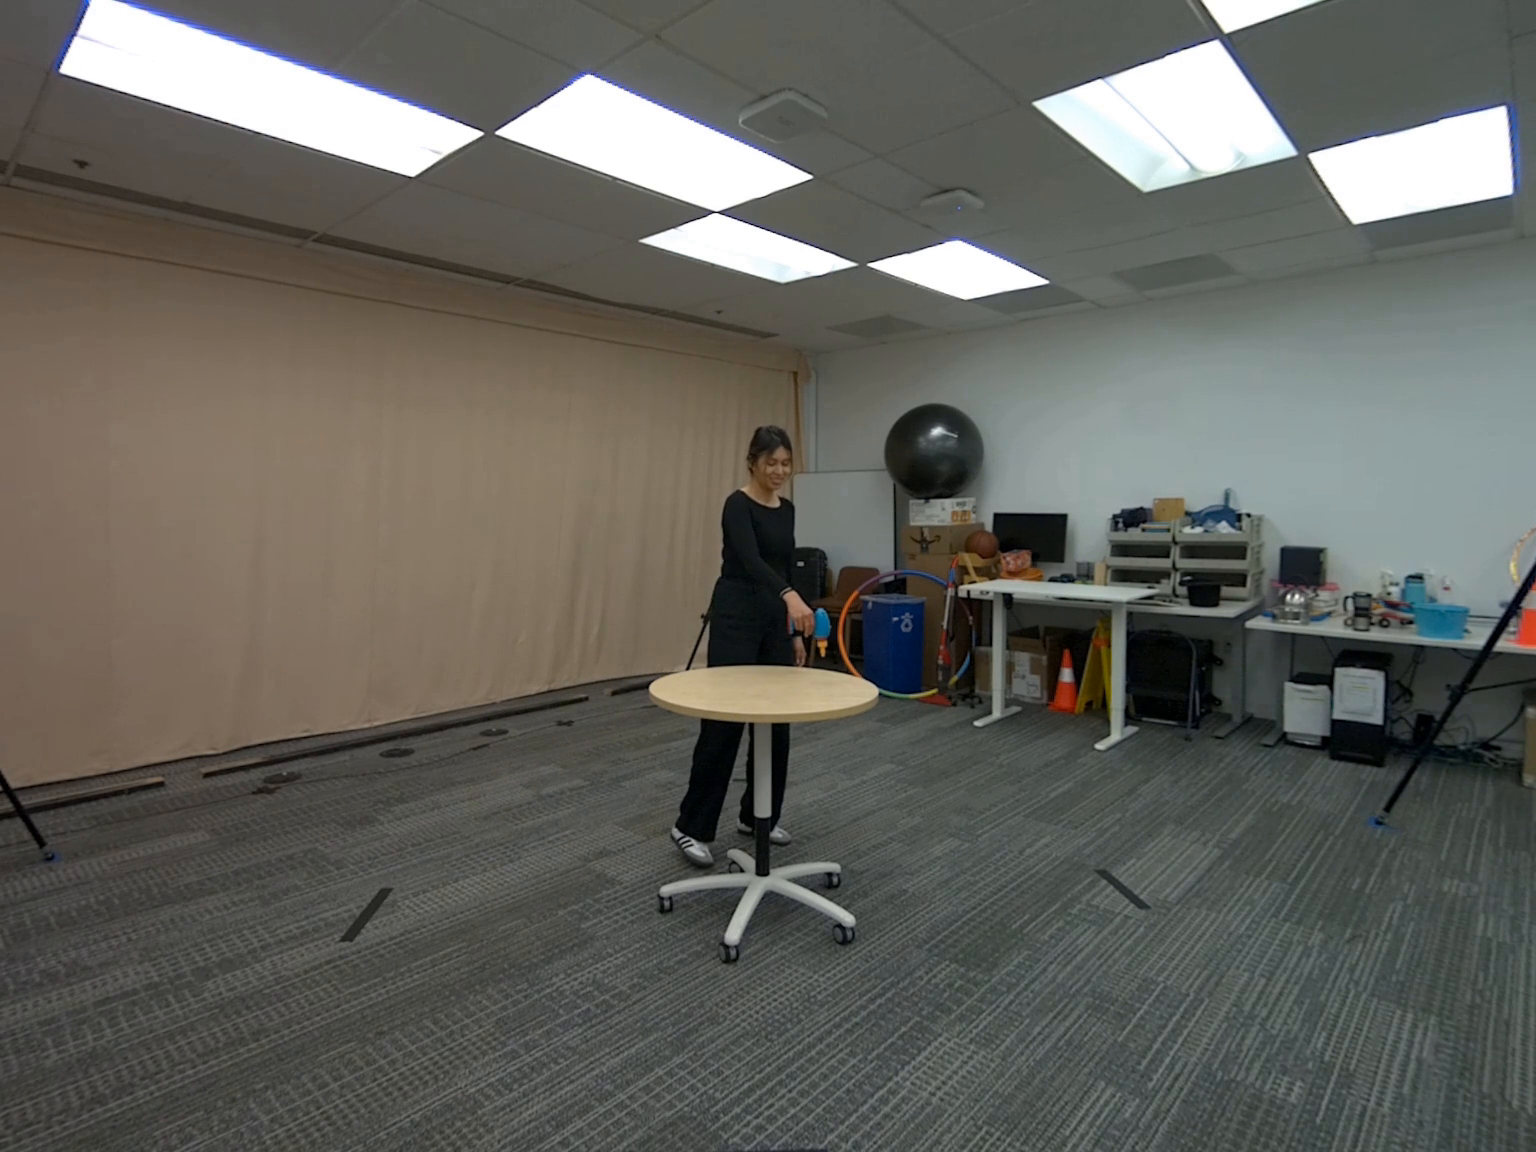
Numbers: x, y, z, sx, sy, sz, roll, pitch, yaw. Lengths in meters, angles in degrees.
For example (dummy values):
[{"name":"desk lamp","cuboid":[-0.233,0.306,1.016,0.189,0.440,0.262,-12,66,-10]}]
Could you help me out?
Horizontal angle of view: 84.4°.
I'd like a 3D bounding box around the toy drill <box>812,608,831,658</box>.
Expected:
[{"name":"toy drill","cuboid":[0.147,0.202,2.952,0.148,0.169,0.061,-3,5,11]}]
